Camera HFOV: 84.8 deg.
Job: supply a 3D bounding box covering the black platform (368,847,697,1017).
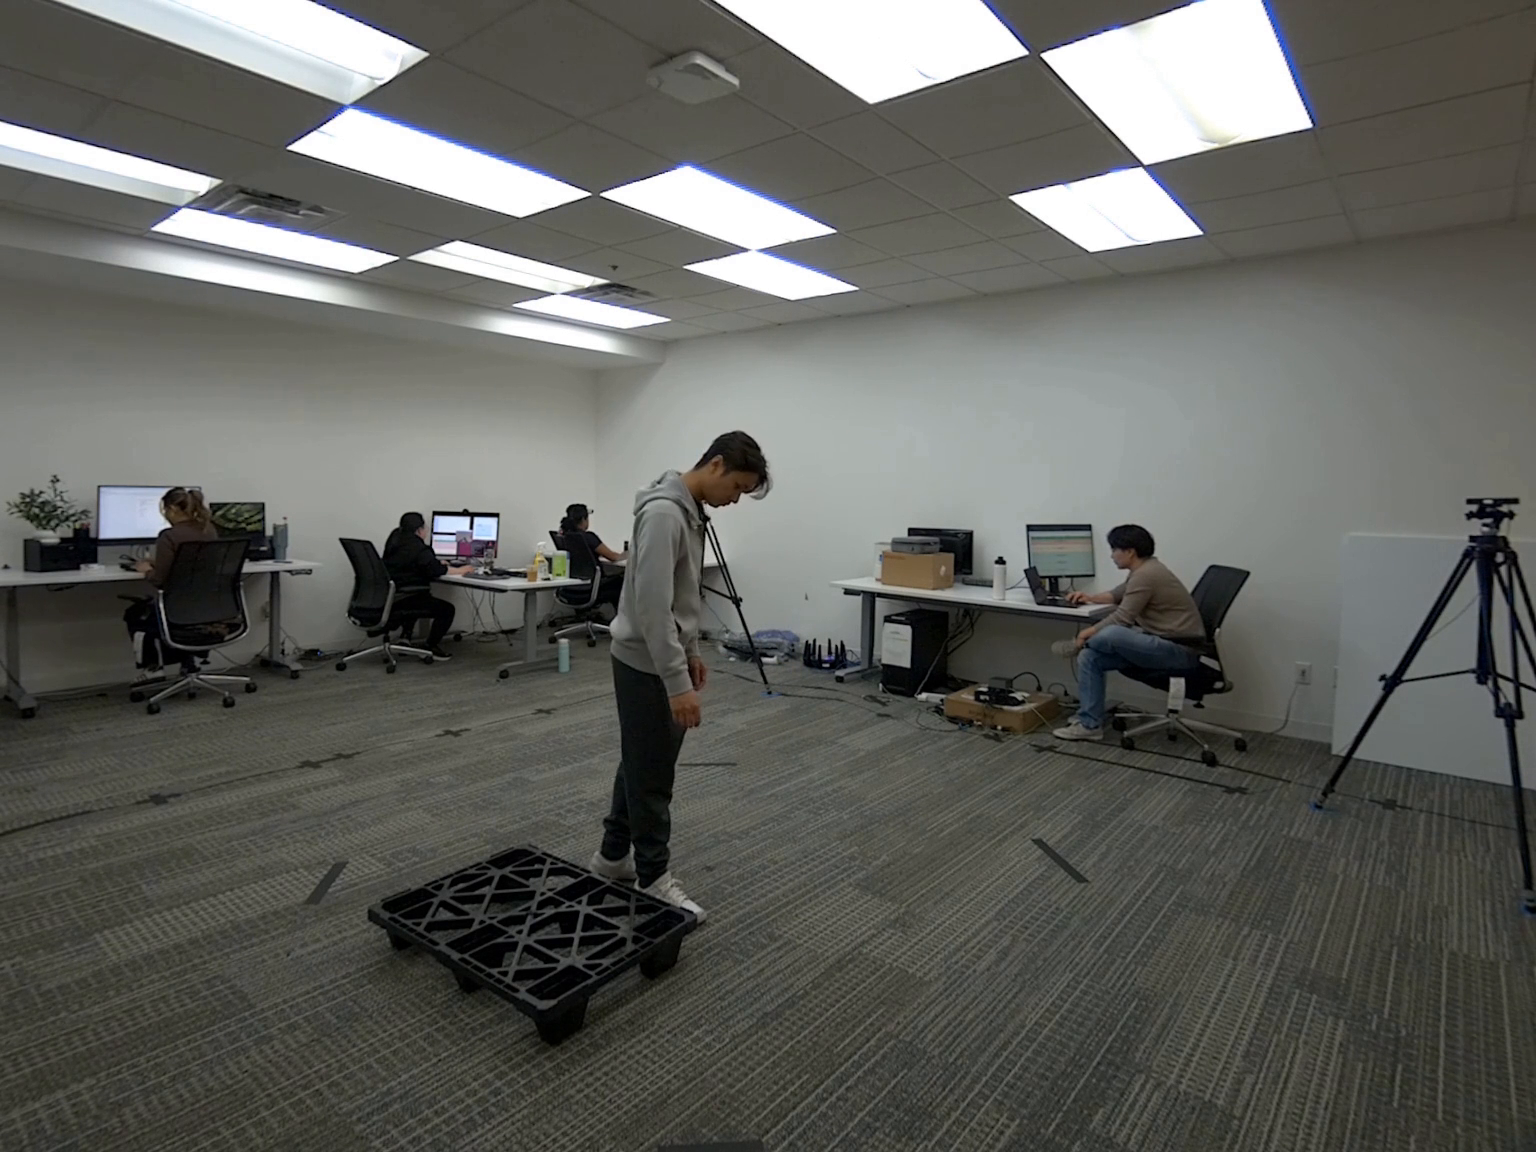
[{"bbox_3d":[-0.704,1.048,2.522,0.832,0.143,0.588,5,7,36],"label":"black platform"}]
